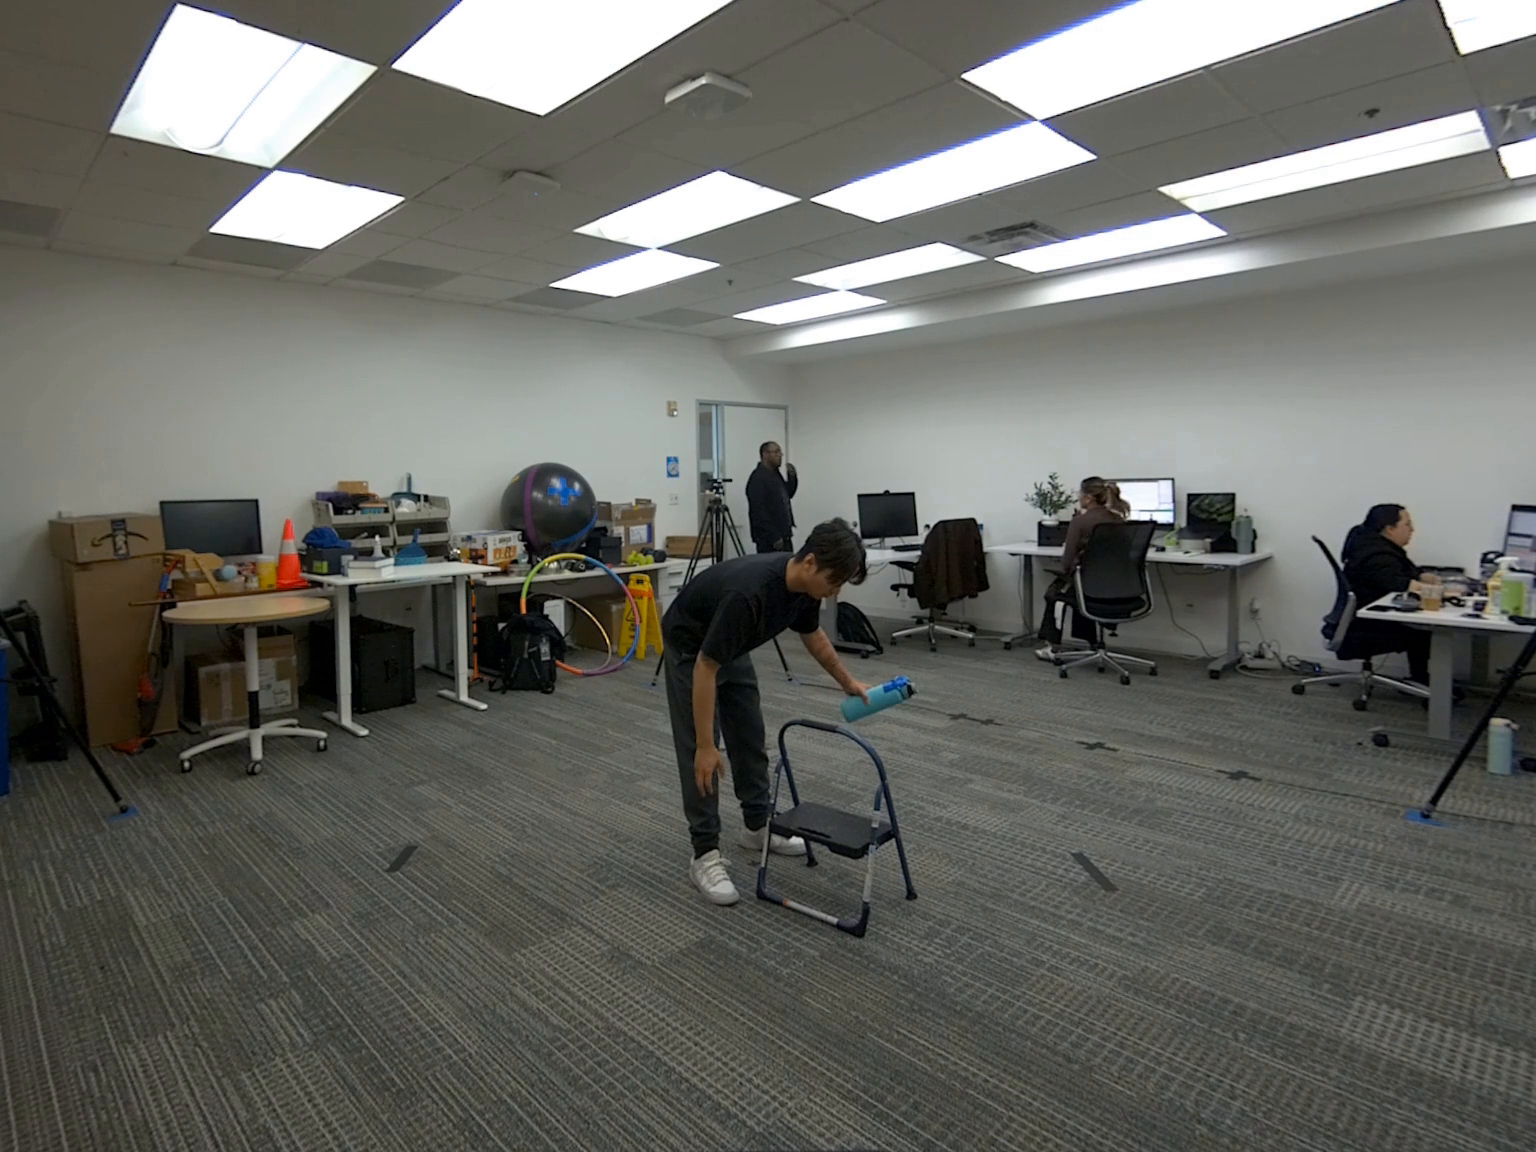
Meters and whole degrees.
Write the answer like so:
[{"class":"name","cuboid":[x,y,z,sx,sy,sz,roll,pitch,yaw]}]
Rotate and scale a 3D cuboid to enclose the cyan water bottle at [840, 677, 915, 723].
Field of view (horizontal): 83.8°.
[{"class":"cyan water bottle","cuboid":[0.402,0.461,3.159,0.286,0.093,0.091,-24,-2,17]}]
